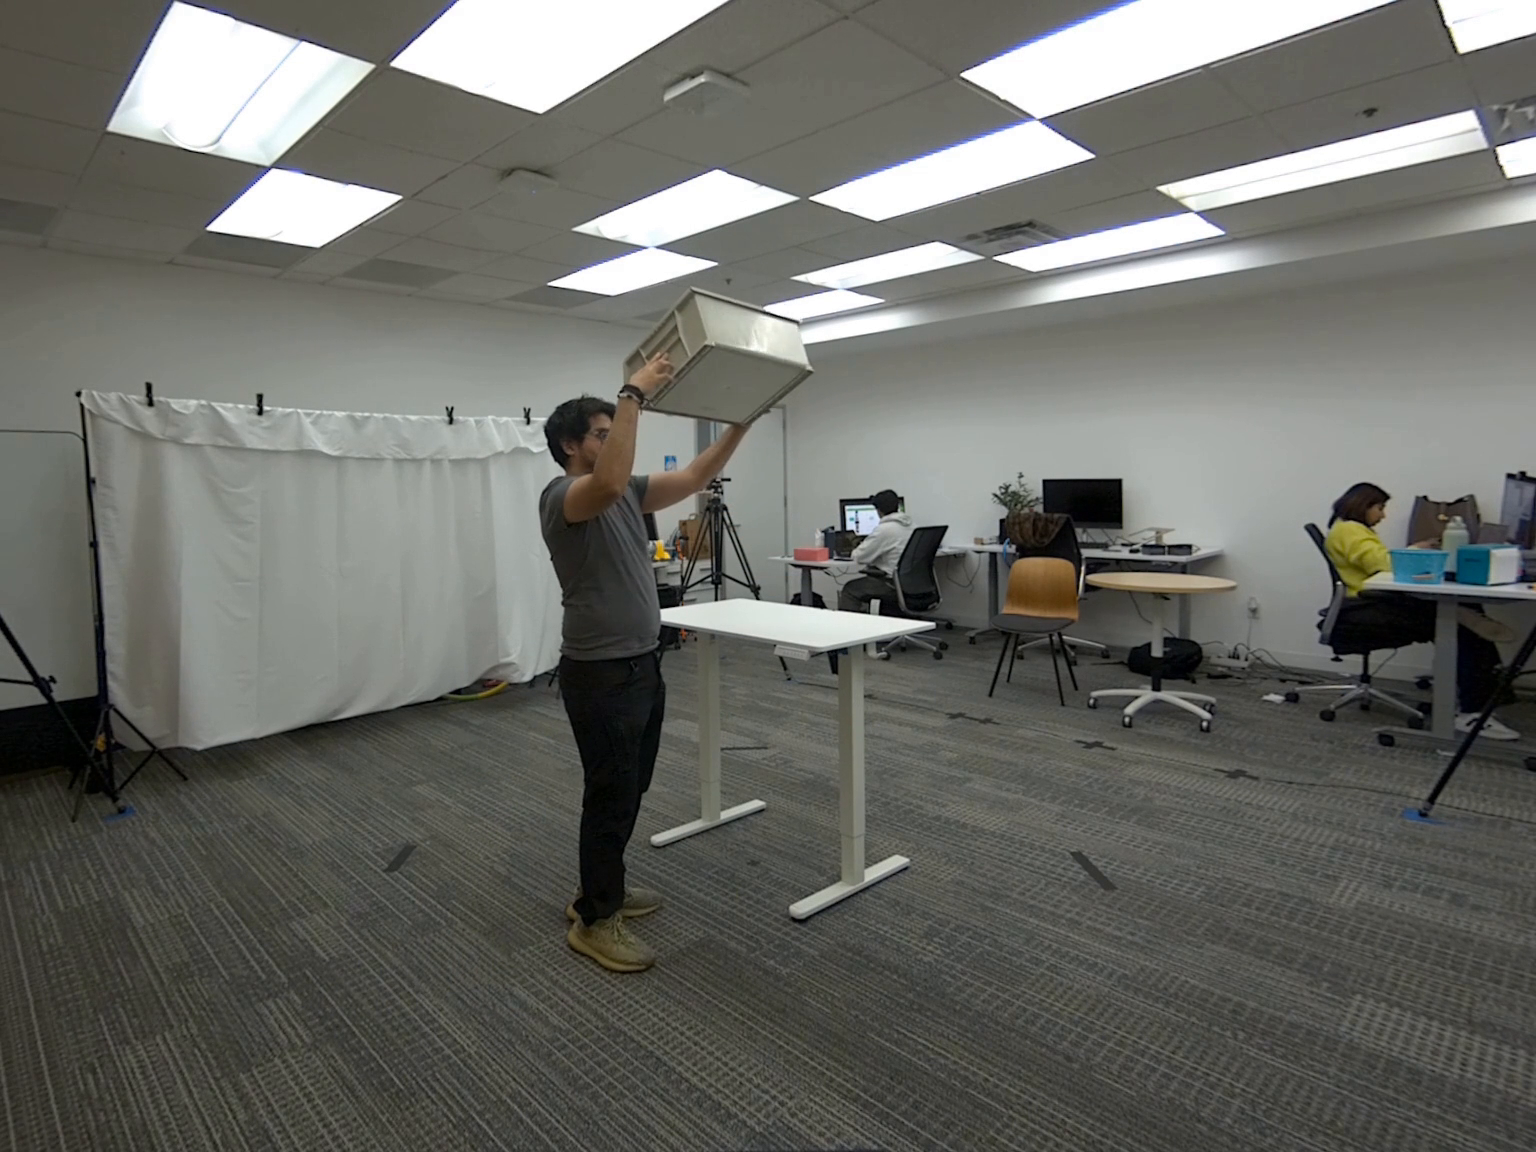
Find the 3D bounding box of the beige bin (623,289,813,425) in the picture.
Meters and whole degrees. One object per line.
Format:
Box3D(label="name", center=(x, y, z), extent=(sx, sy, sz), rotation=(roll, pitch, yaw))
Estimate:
Box3D(label="beige bin", center=(-0.142, -0.608, 2.490), extent=(0.410, 0.193, 0.381), rotation=(2, -25, -42))
